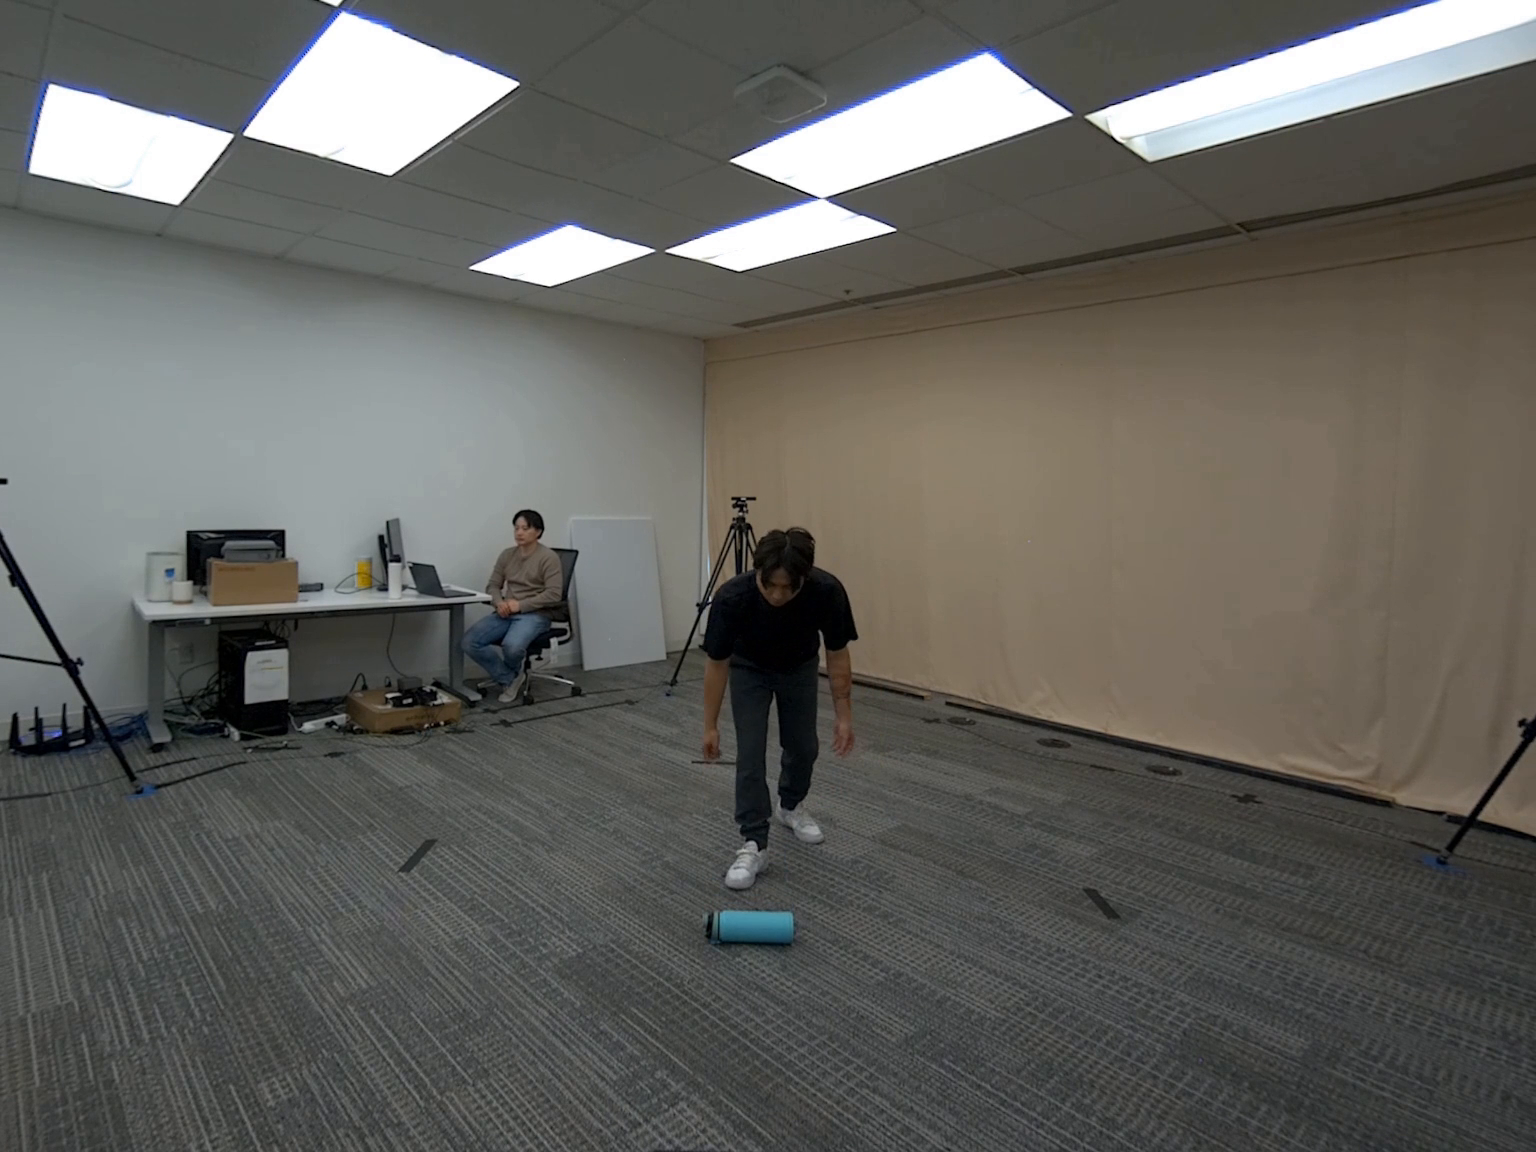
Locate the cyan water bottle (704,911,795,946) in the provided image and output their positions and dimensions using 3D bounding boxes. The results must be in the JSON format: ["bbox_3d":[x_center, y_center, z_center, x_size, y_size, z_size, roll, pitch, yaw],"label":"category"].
[{"bbox_3d":[-0.072,1.100,2.648,0.283,0.092,0.092,0,4,-1],"label":"cyan water bottle"}]
